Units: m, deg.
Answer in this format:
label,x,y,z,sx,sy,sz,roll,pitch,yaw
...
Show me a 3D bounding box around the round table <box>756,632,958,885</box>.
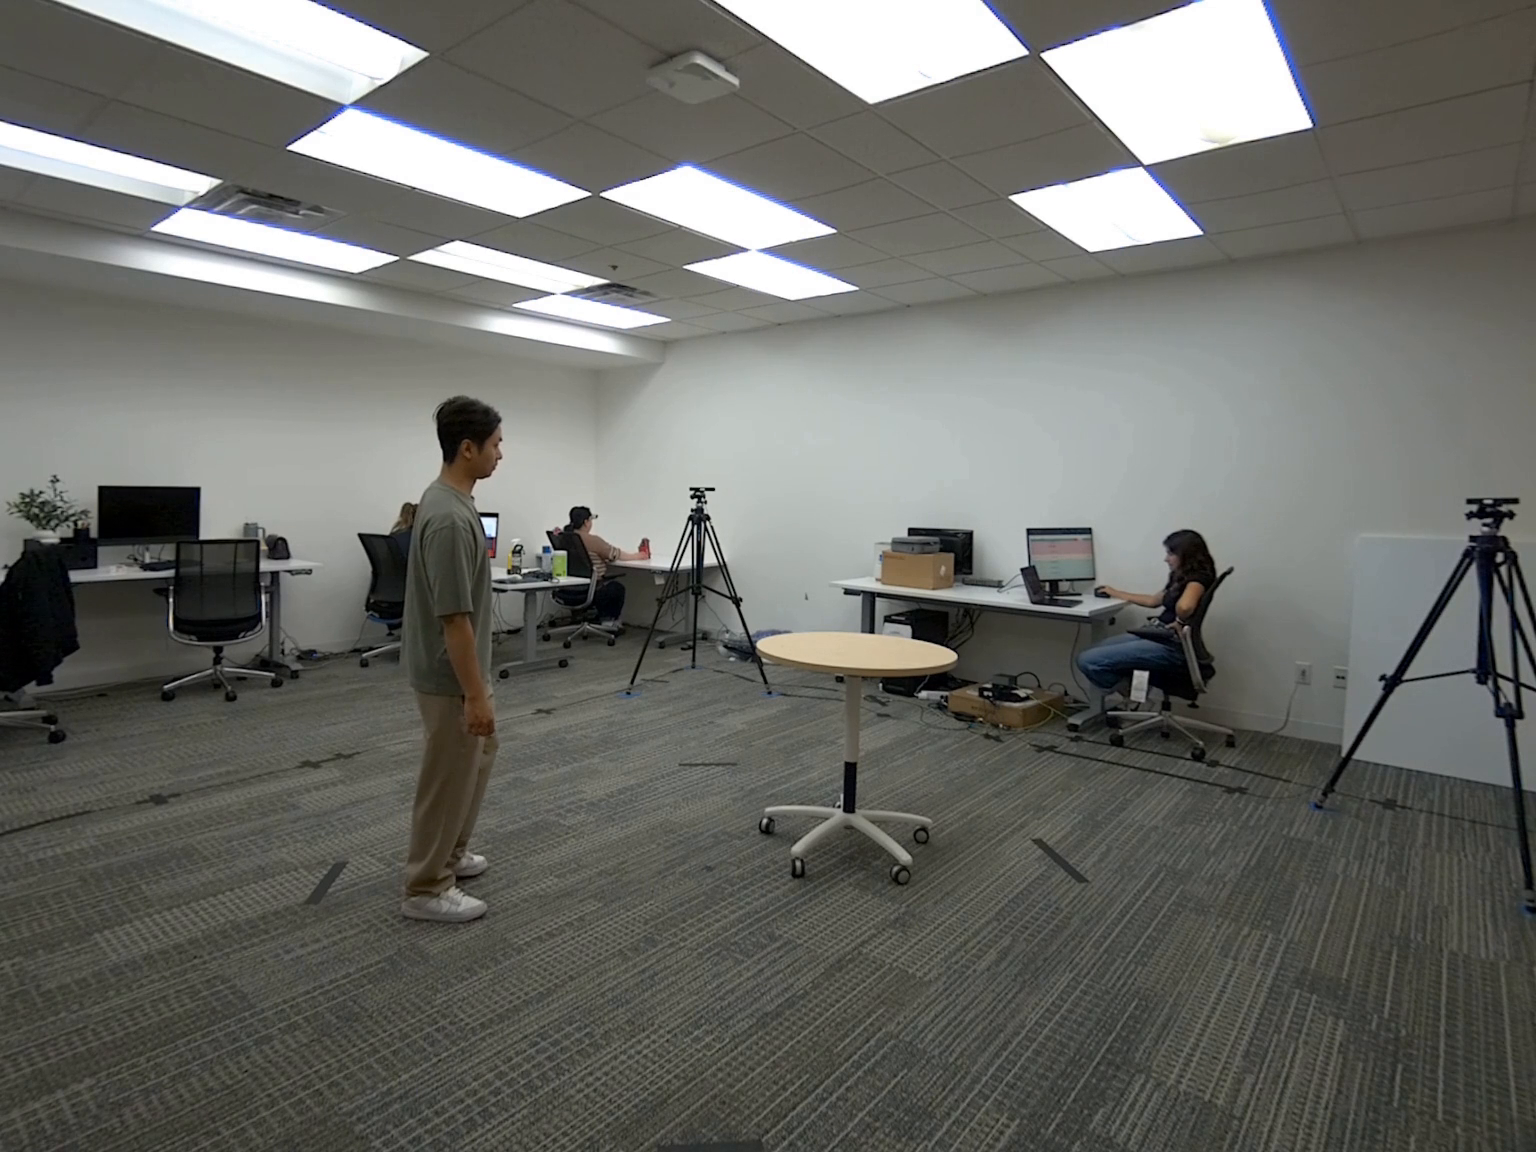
label,x,y,z,sx,sy,sz,roll,pitch,yaw
round table,0.314,0.662,3.322,0.784,0.784,0.789,2,4,-2
